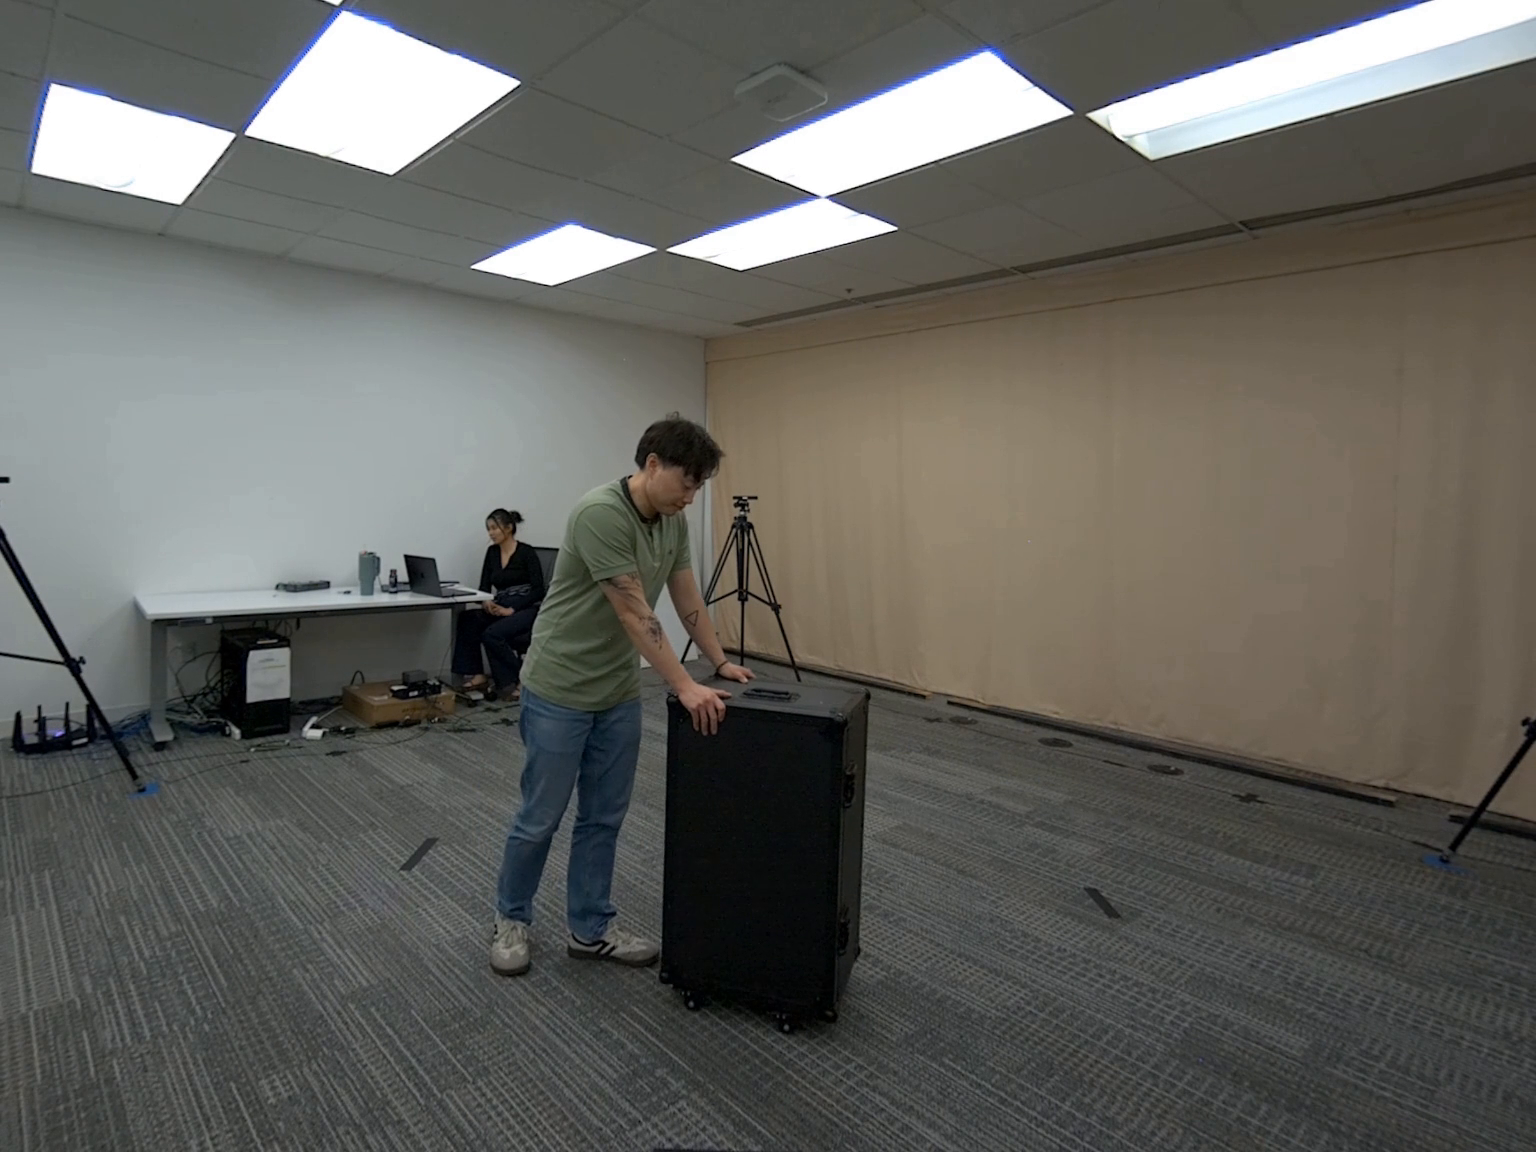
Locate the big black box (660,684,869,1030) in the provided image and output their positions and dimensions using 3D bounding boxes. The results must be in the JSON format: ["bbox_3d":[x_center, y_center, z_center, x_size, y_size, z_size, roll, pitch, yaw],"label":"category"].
[{"bbox_3d":[-0.011,0.756,2.356,0.529,0.860,0.391,3,3,19],"label":"big black box"}]
